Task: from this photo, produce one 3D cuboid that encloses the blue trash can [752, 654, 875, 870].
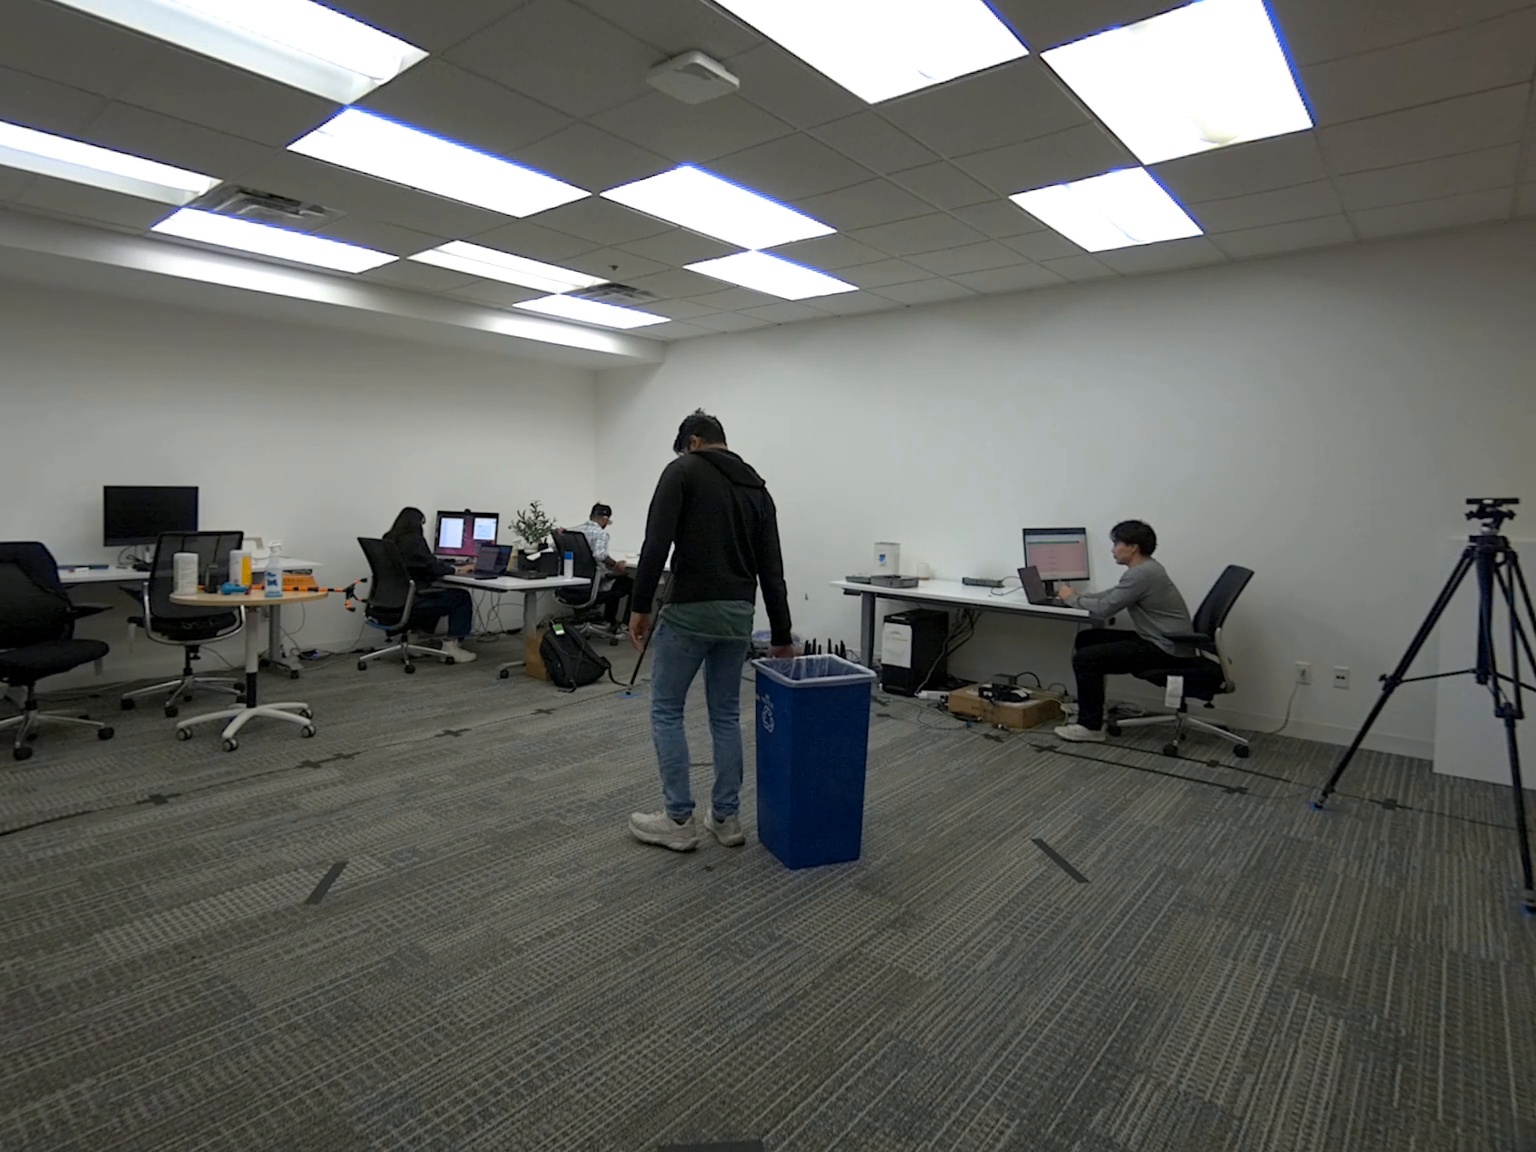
[{"bbox_3d":[0.153,0.699,3.264,0.365,0.711,0.389,0,5,-26],"label":"blue trash can"}]
